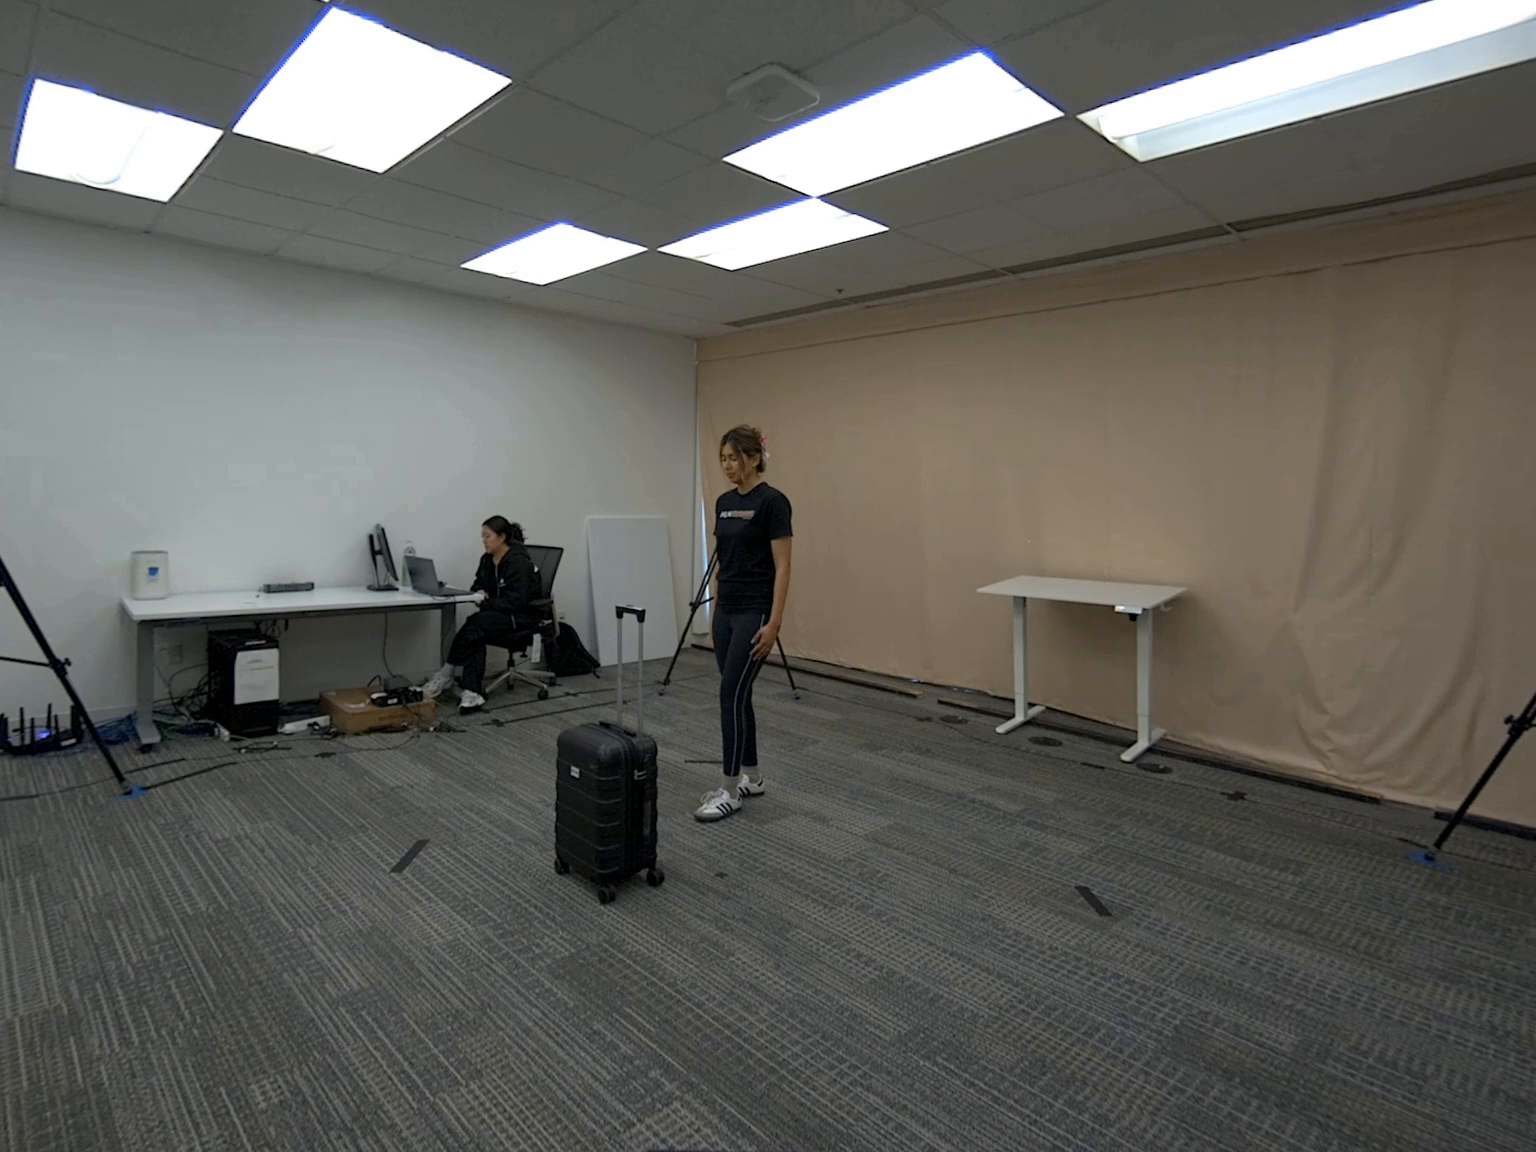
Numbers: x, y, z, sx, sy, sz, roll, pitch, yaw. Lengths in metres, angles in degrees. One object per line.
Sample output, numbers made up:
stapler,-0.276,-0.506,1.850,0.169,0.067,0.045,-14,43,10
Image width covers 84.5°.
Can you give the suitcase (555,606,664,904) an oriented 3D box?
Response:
suitcase,-0.599,0.624,3.038,0.251,0.976,0.393,-4,4,-42
